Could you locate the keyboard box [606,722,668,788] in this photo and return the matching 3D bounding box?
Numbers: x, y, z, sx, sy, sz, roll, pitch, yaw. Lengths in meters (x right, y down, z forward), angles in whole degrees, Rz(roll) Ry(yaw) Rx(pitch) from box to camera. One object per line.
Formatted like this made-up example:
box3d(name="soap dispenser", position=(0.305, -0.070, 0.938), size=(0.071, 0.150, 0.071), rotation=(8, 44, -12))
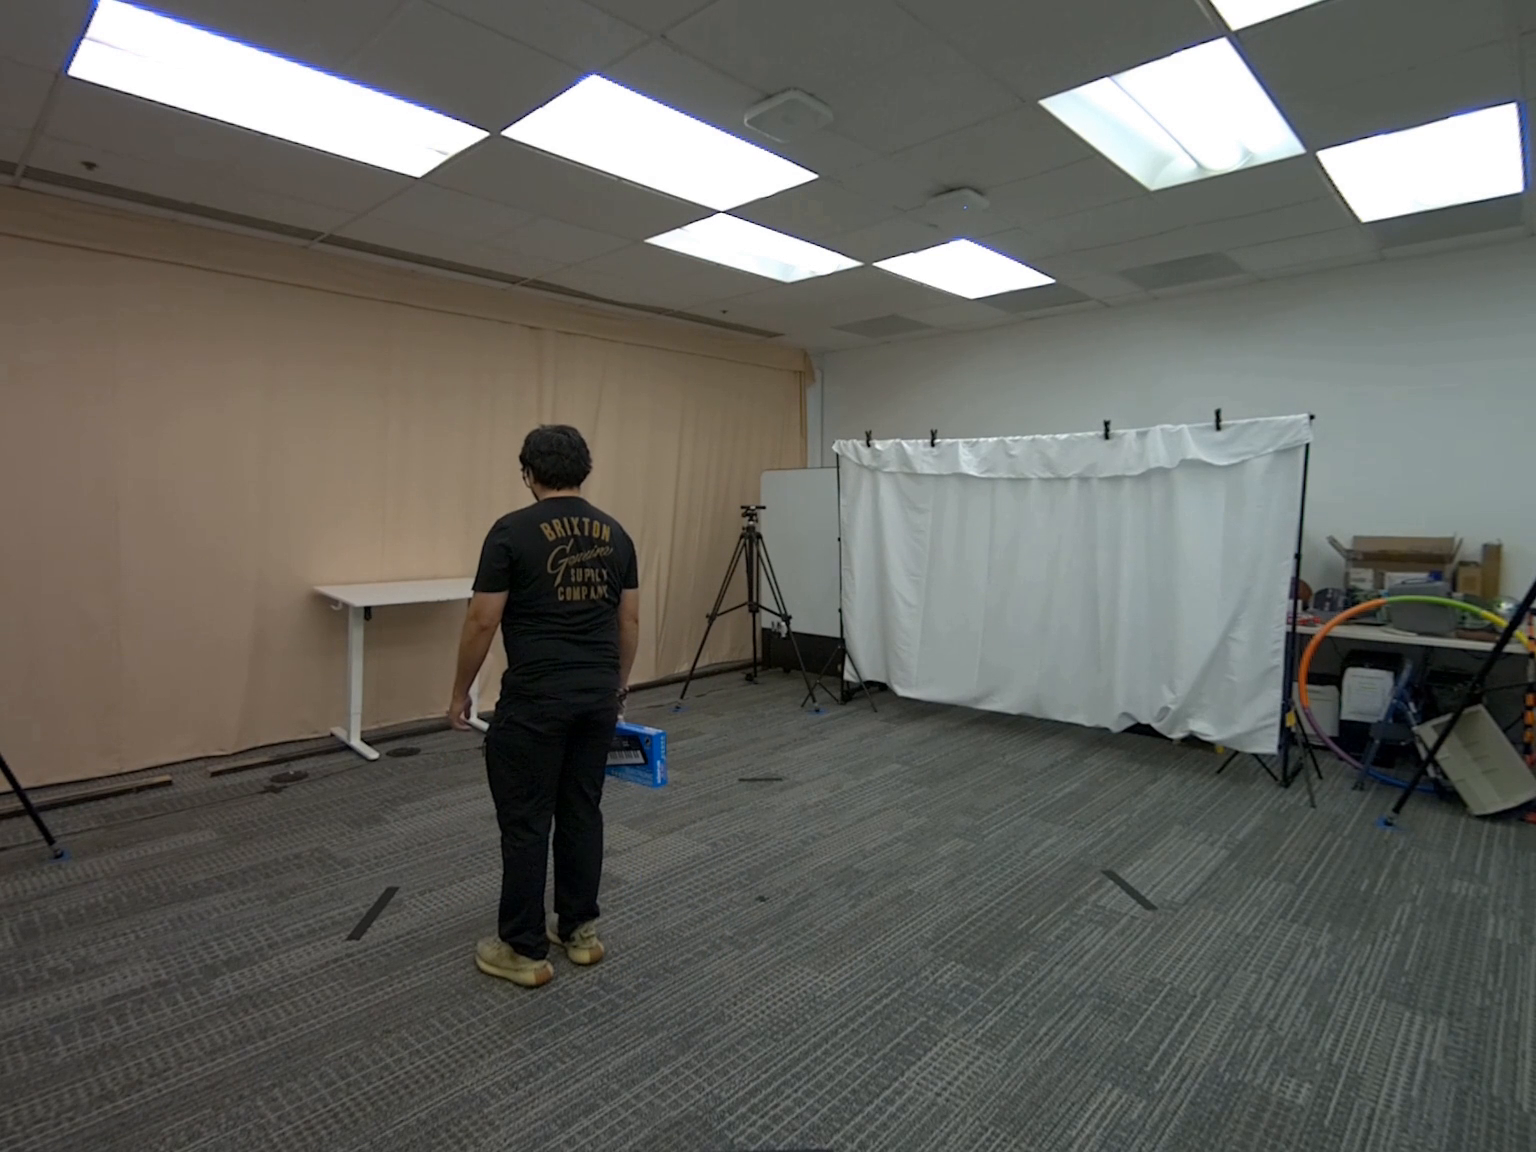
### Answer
box3d(name="keyboard box", position=(-0.516, 0.578, 2.809), size=(0.451, 0.176, 0.057), rotation=(2, 3, 40))
